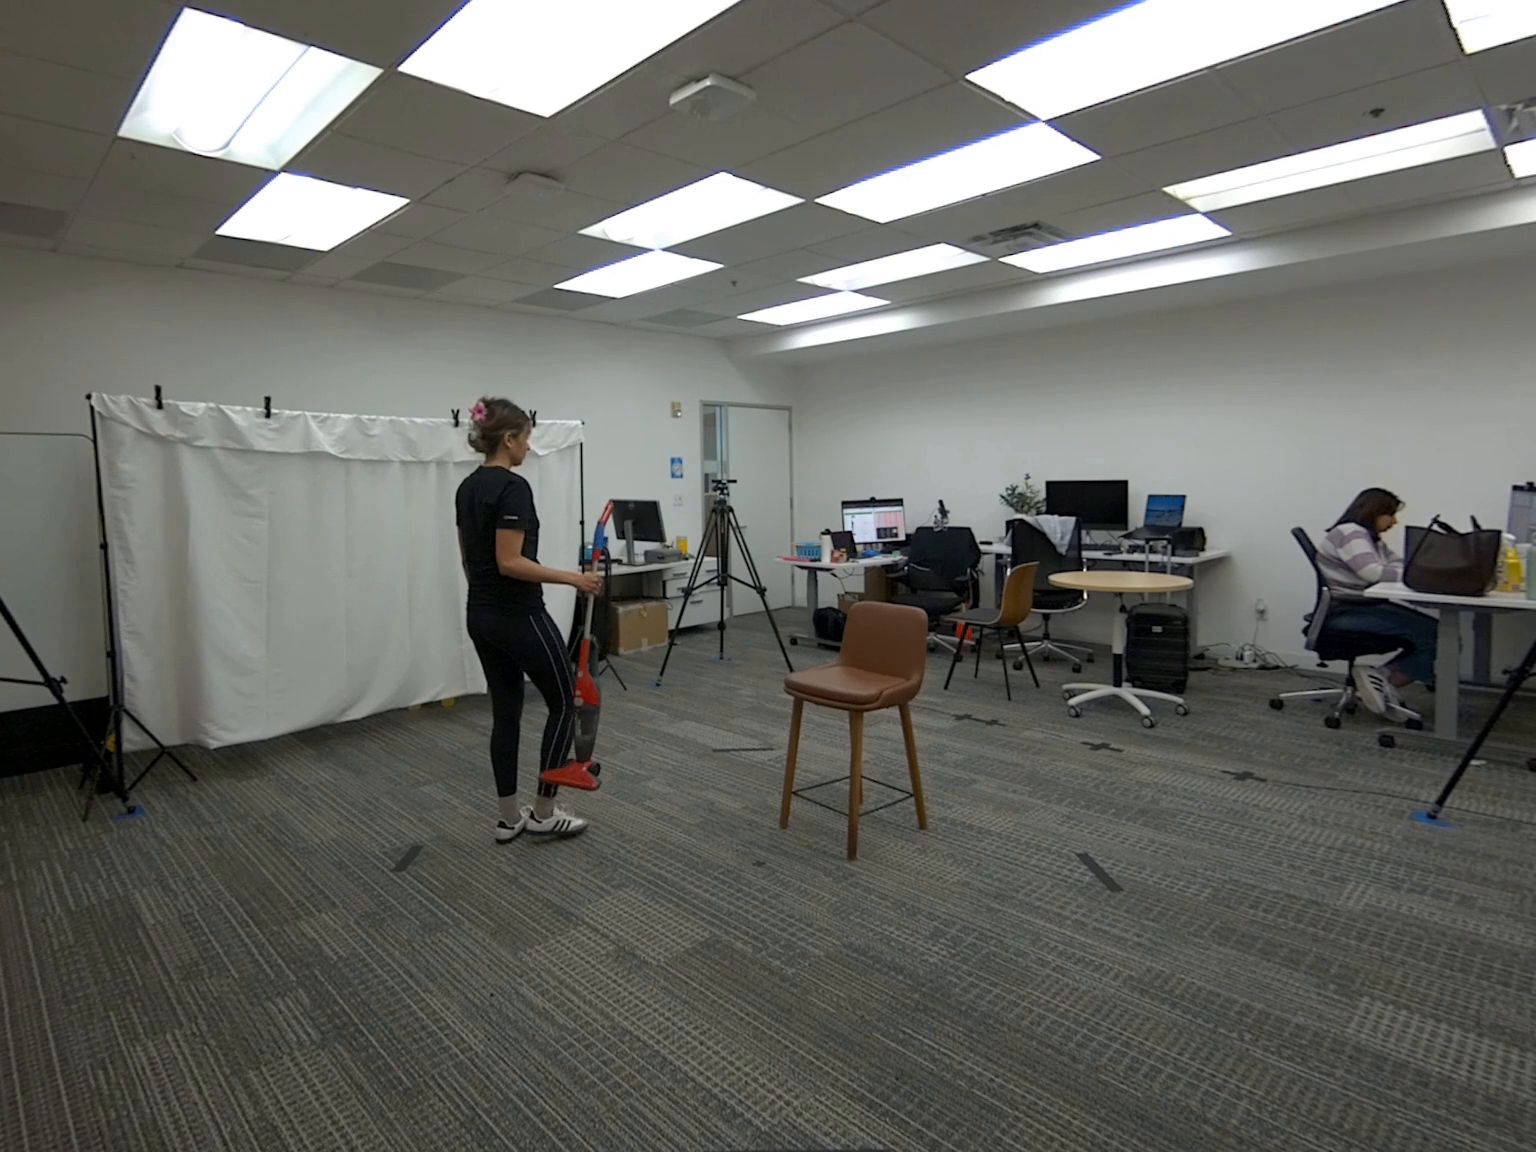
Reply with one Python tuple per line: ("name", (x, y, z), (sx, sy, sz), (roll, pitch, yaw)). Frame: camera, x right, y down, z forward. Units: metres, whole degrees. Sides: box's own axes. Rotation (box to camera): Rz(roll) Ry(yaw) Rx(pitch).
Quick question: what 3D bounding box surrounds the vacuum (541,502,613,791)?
("vacuum", (-0.667, 0.241, 3.275), (0.258, 1.056, 0.140), (3, -8, 22))
